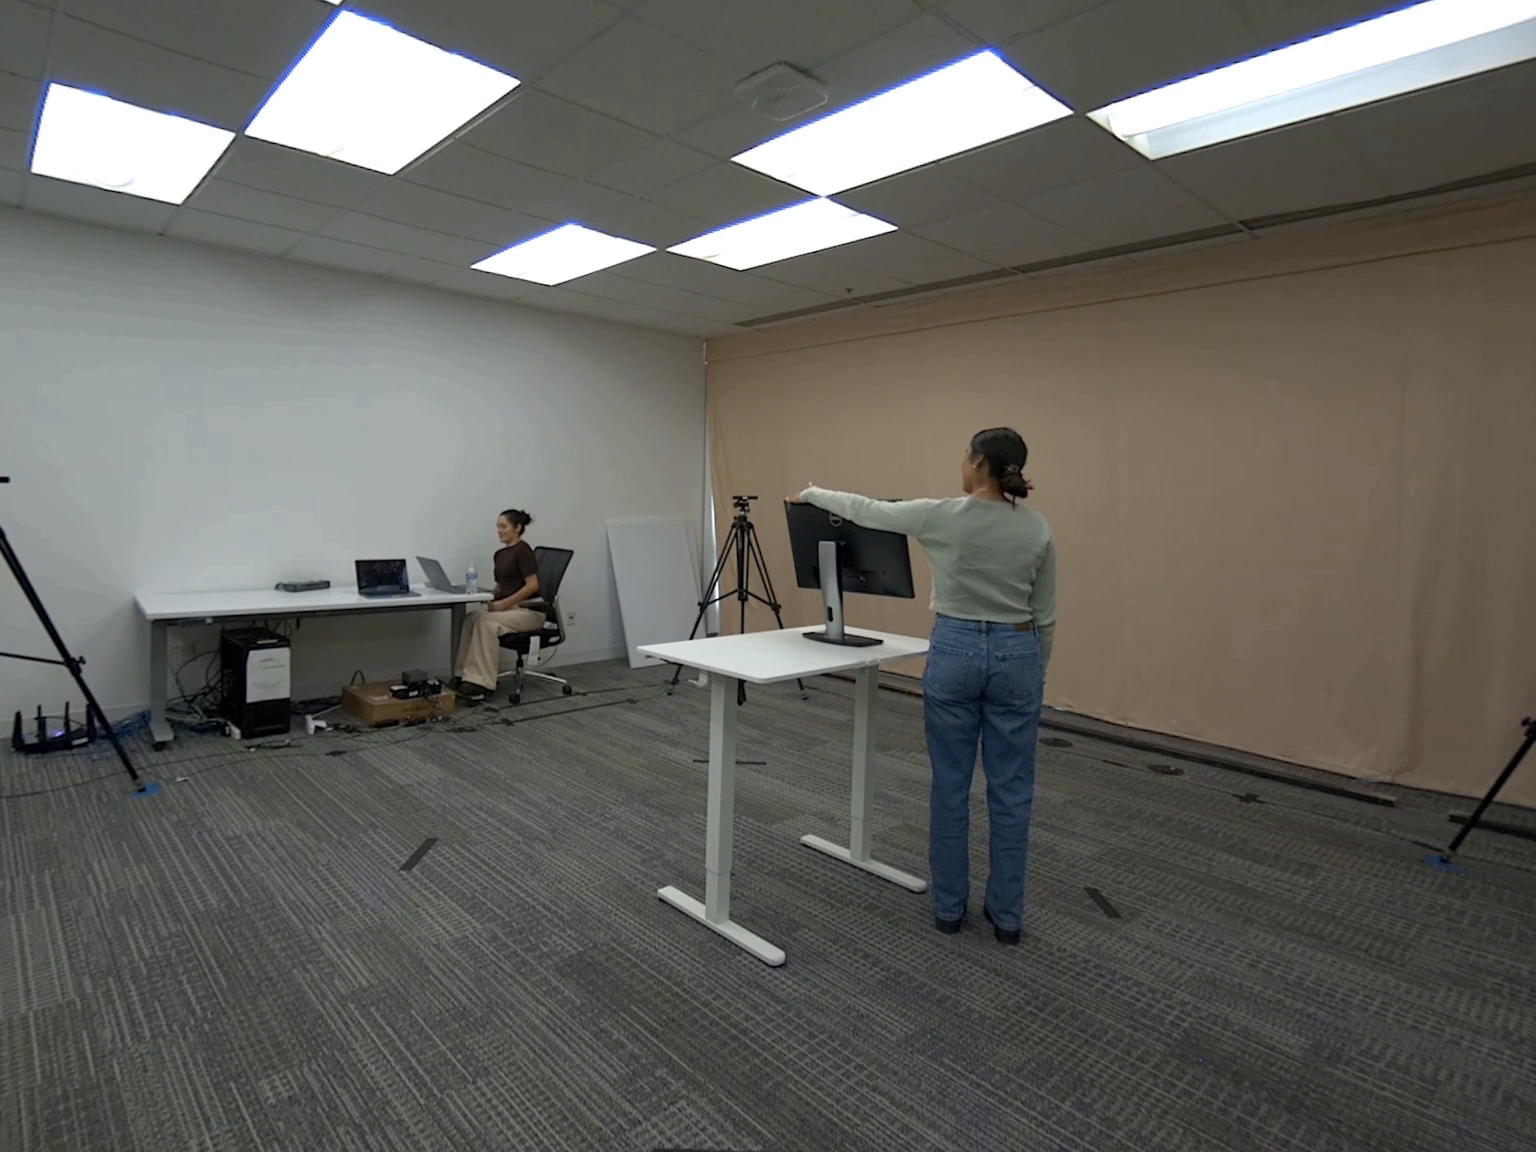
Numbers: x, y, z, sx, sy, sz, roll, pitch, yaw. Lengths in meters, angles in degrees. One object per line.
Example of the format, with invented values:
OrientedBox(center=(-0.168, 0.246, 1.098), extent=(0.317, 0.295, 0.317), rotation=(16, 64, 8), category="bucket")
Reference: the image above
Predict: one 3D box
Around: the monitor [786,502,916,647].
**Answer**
OrientedBox(center=(0.259, -0.015, 3.044), extent=(0.553, 0.520, 0.183), rotation=(5, 7, 43), category="monitor")
